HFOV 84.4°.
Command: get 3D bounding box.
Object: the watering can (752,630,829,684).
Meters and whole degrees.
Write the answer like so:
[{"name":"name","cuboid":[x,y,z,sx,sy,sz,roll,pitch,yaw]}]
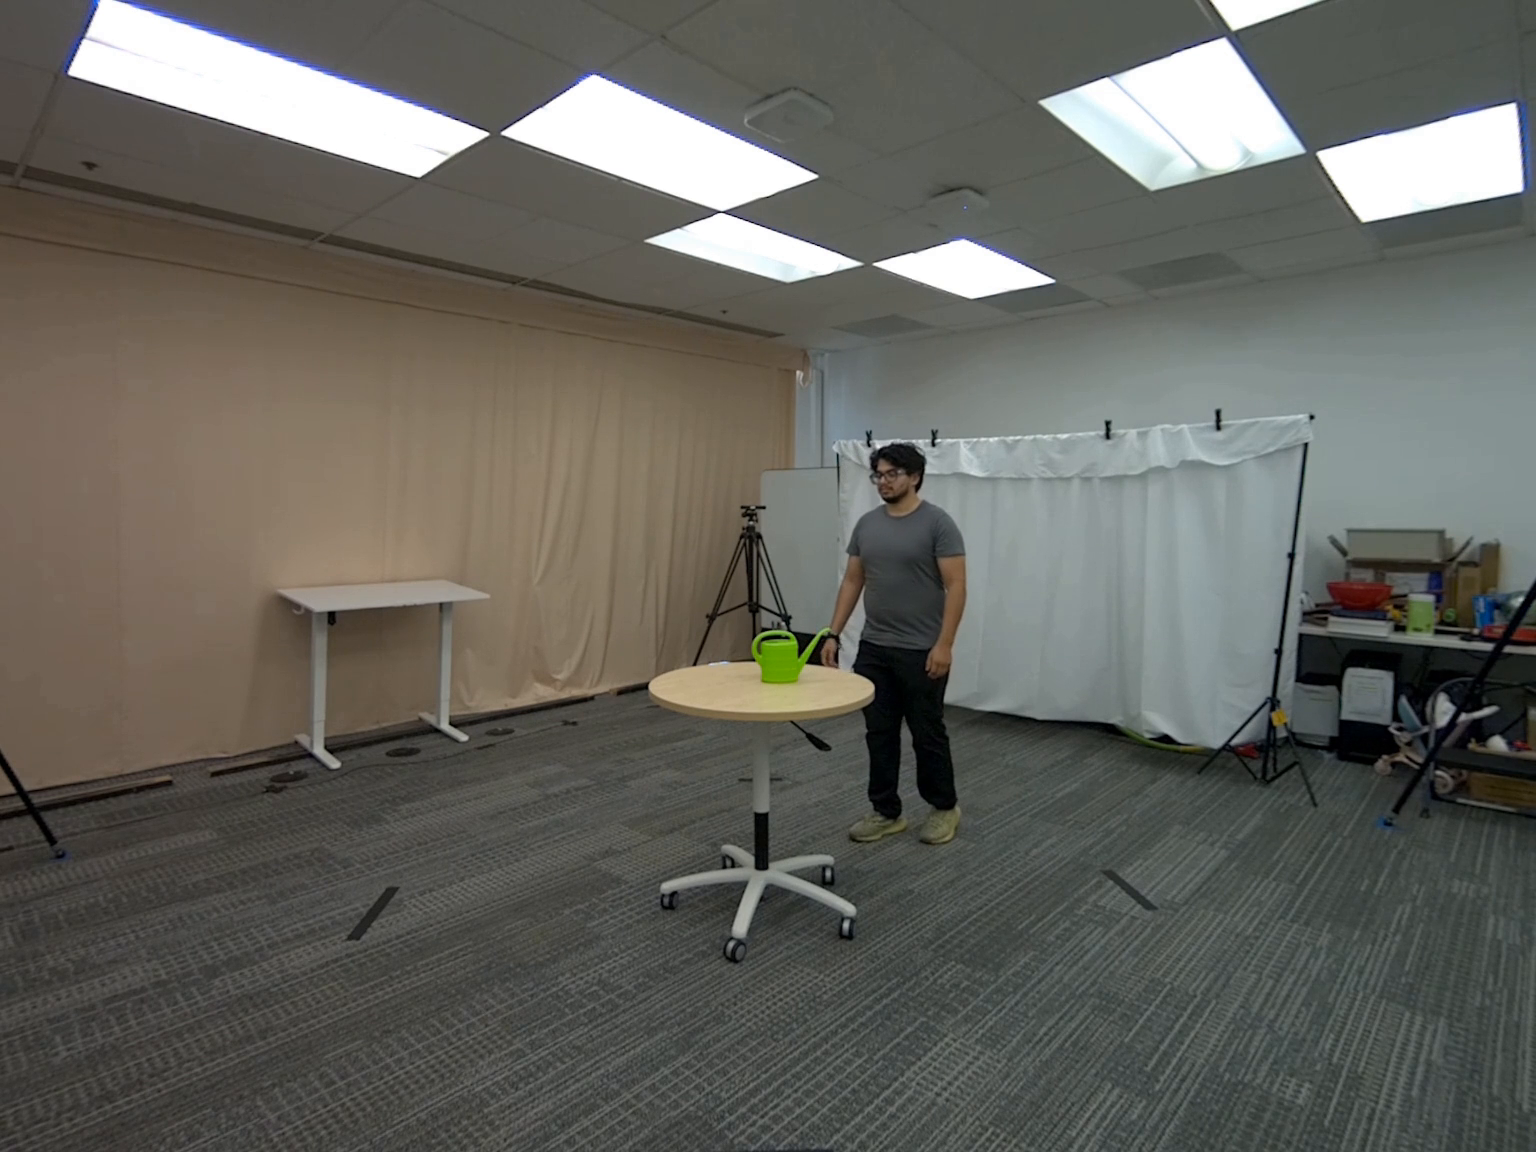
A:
[{"name":"watering can","cuboid":[0.088,0.284,2.917,0.278,0.176,0.098,0,5,1]}]
